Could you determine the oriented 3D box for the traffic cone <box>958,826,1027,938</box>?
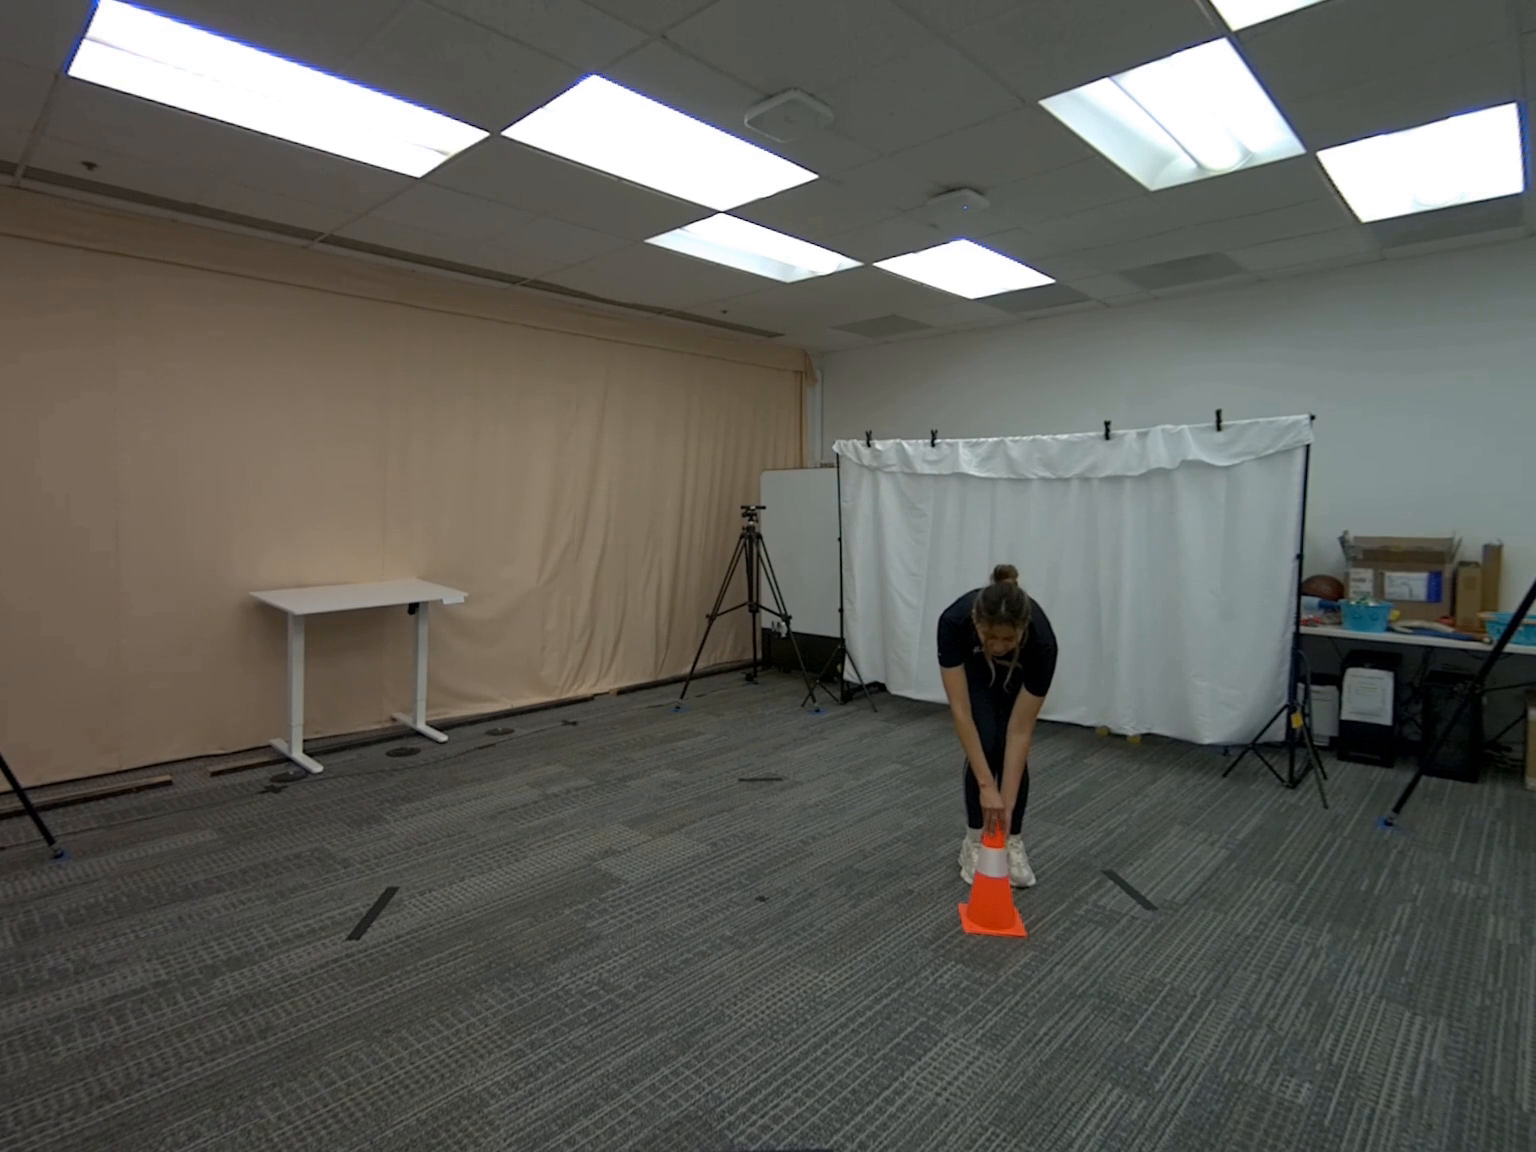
[{"bbox_3d":[0.758,0.966,2.816,0.208,0.383,0.201,0,3,12],"label":"traffic cone"}]
